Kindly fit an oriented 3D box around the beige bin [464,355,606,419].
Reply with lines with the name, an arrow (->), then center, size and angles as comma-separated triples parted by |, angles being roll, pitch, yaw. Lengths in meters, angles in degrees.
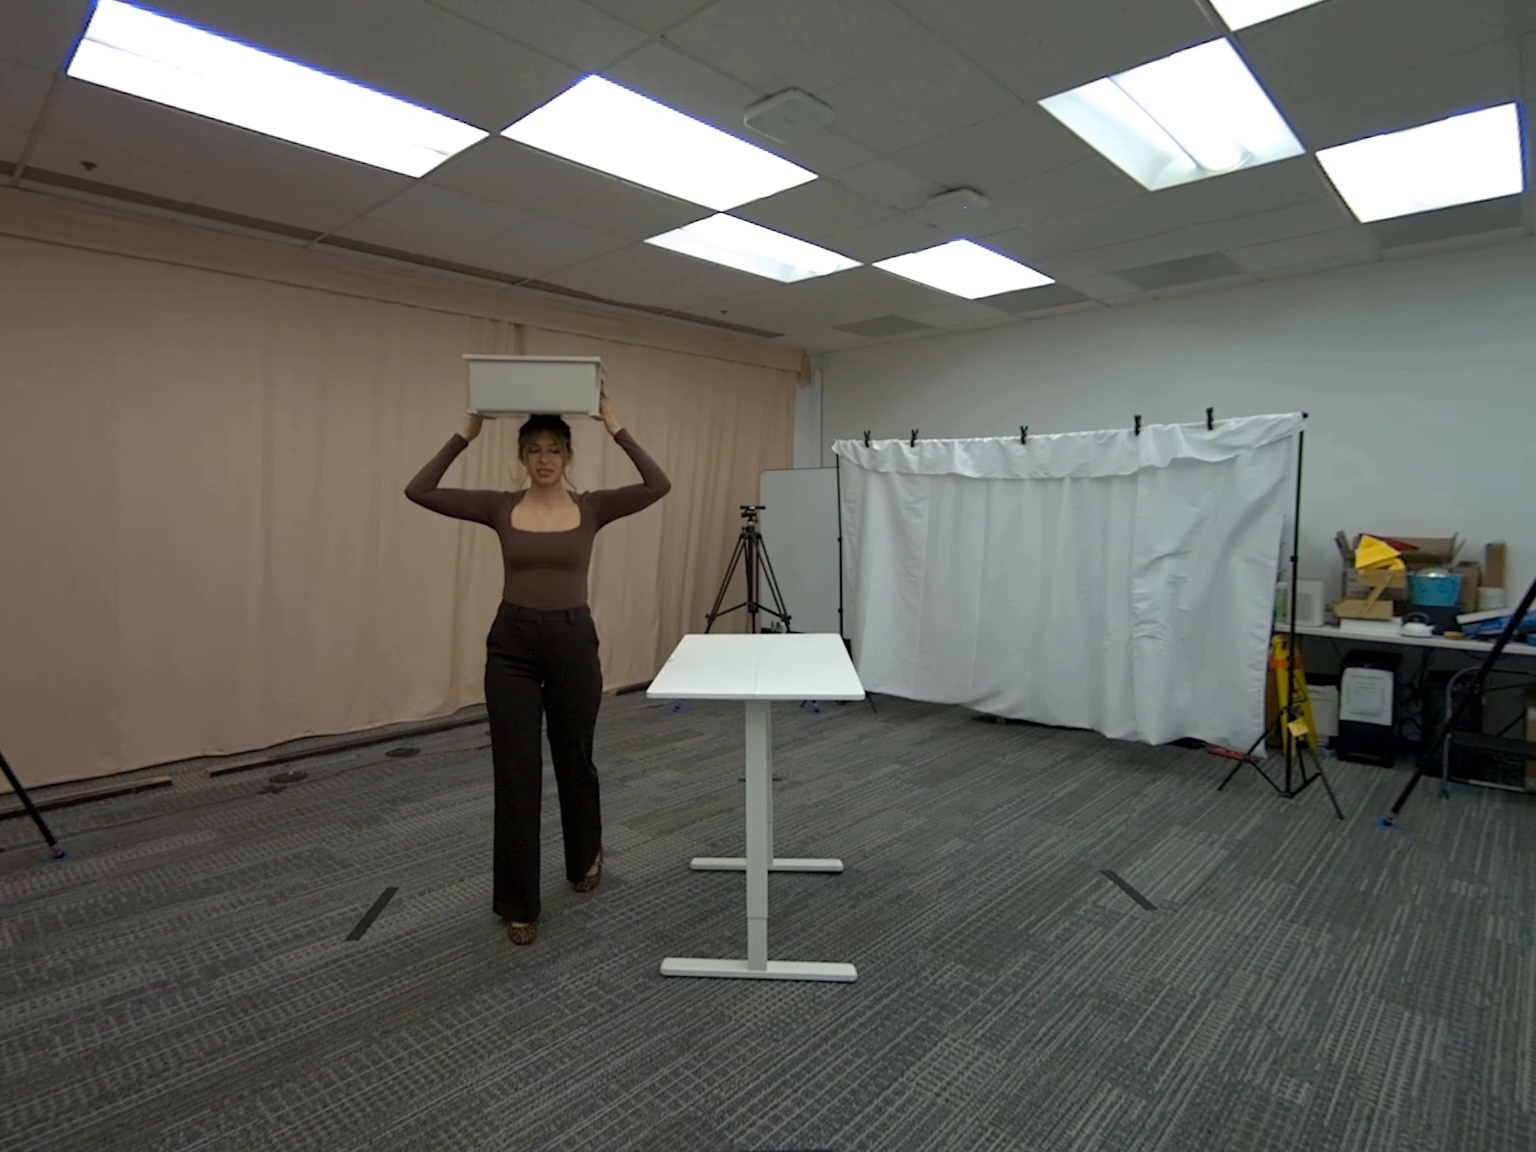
beige bin -> -0.758, -0.624, 2.788 | 0.419, 0.188, 0.381 | 2, 8, -7
